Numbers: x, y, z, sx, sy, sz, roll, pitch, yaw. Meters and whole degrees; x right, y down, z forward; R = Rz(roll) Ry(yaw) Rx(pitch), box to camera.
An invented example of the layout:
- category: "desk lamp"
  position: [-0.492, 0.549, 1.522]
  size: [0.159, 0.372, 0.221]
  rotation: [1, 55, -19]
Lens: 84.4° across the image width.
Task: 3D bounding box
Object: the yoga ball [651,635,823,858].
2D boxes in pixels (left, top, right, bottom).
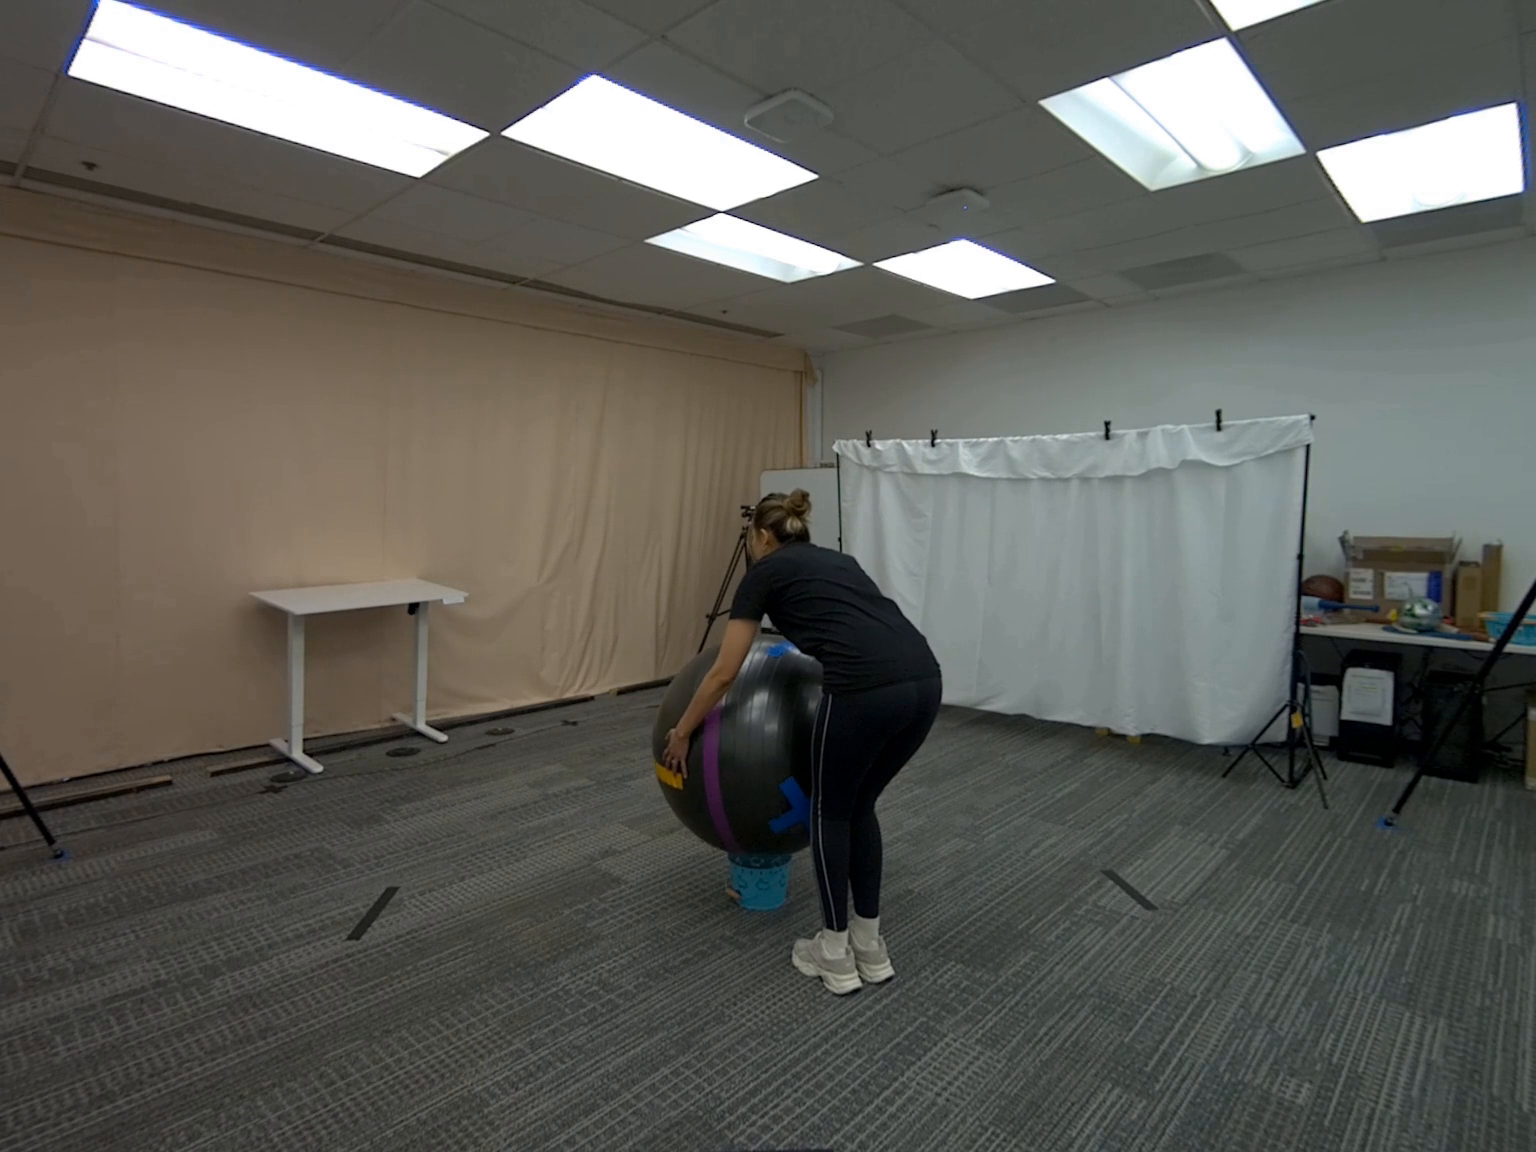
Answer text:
- category: "yoga ball"
  position: [-0.027, 0.581, 2.952]
  size: [0.757, 0.756, 0.761]
  rotation: [0, 4, -2]
